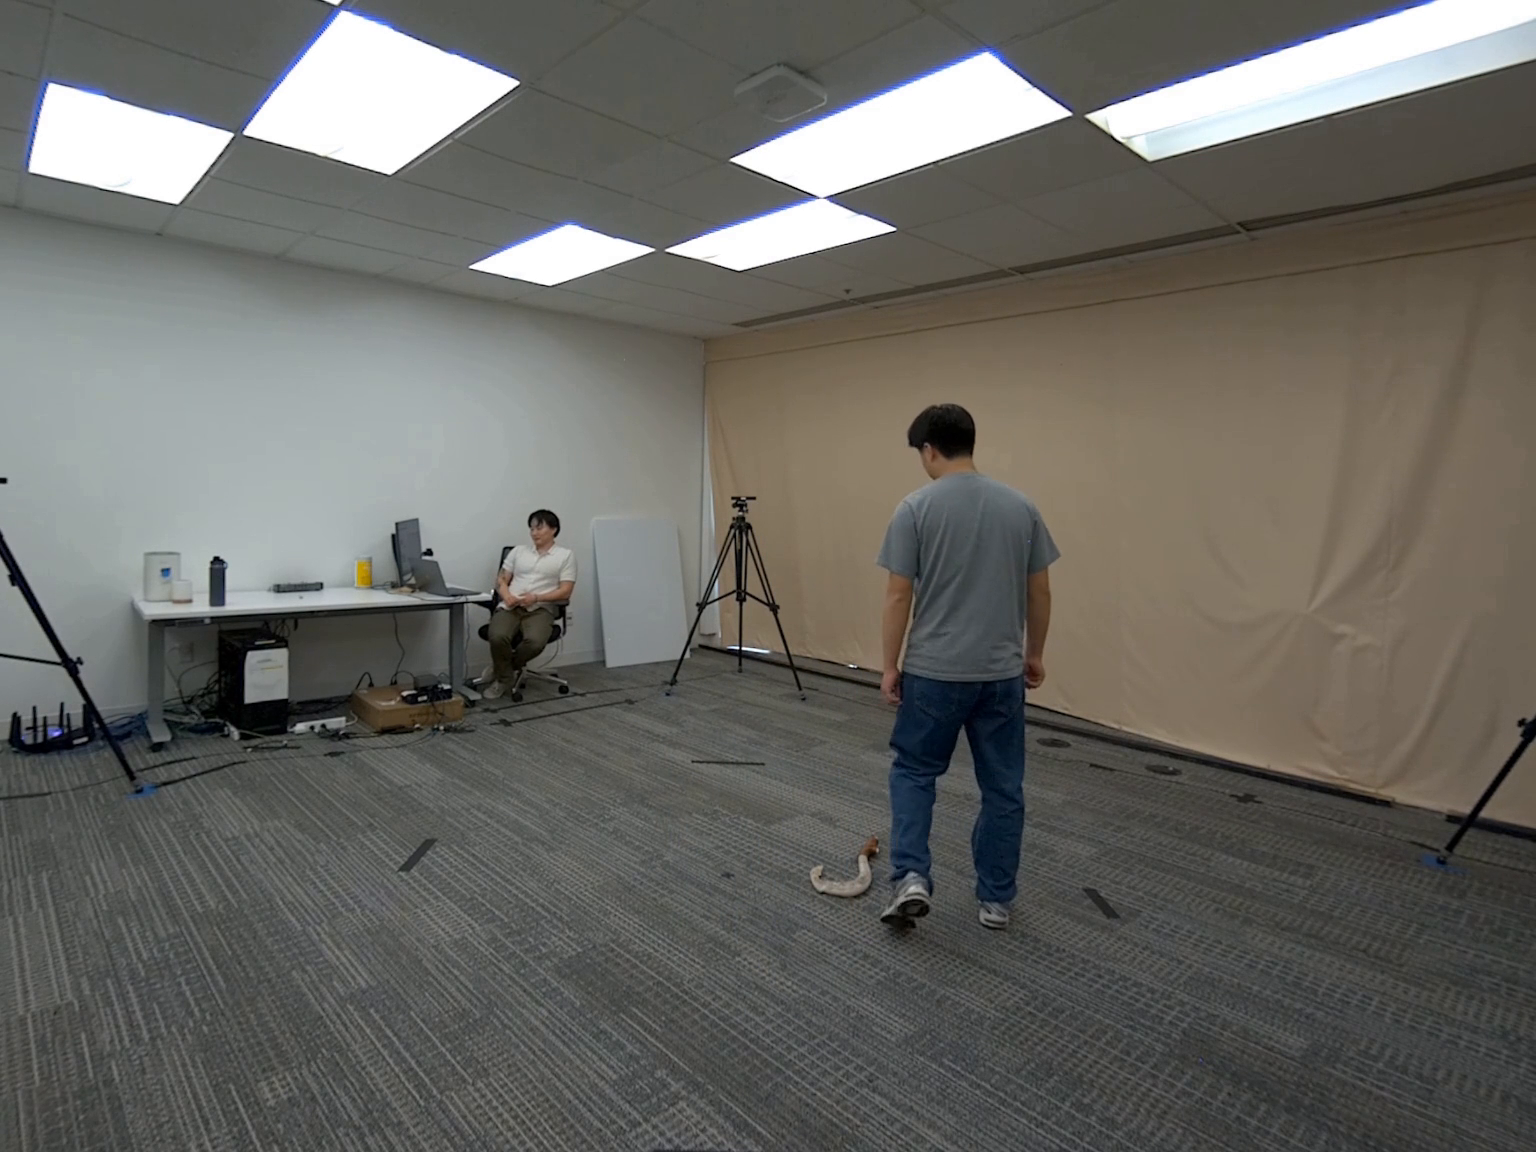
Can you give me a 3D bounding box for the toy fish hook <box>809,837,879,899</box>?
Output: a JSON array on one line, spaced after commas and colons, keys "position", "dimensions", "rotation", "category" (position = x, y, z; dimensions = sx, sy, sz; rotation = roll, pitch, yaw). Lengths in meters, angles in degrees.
[{"position": [0.296, 1.086, 3.188], "dimensions": [0.228, 0.048, 0.500], "rotation": [4, 5, 18], "category": "toy fish hook"}]
